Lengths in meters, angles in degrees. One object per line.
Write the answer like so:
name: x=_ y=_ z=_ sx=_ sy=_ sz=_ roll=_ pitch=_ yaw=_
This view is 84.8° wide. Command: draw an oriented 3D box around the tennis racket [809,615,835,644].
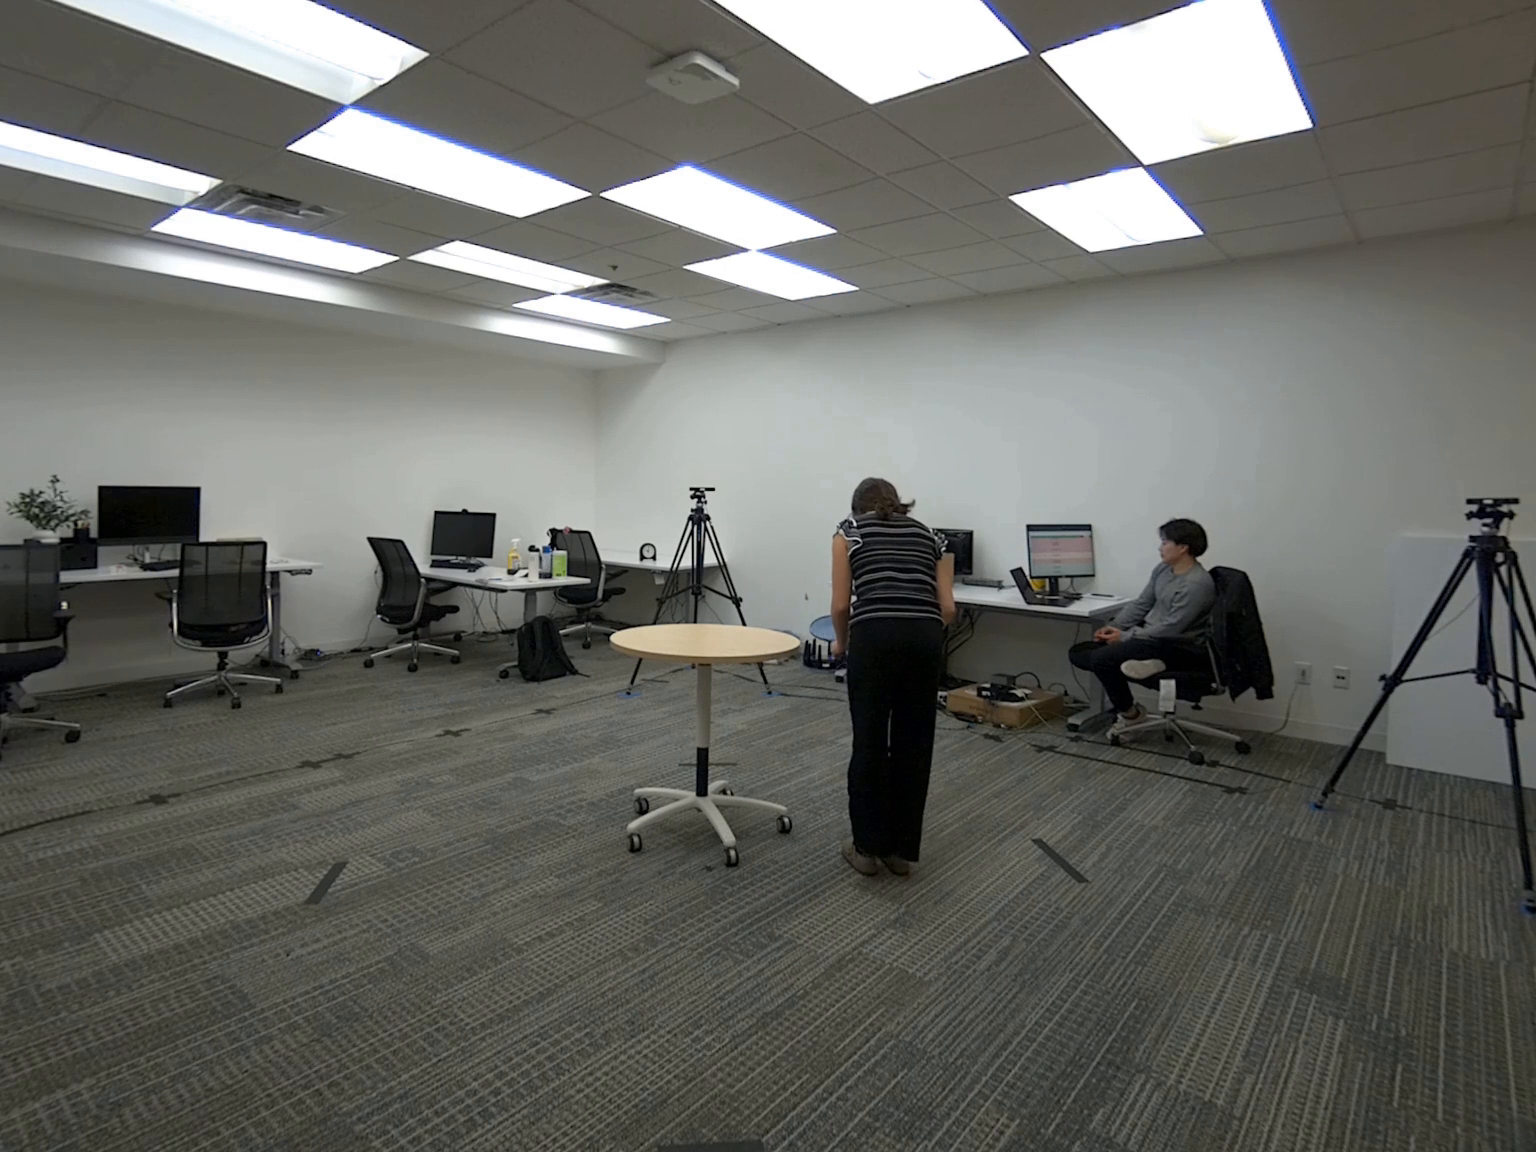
tennis racket: x=0.286 y=0.251 z=3.505 sx=0.214 sy=0.031 sz=0.440 roll=-9 pitch=18 yaw=1
